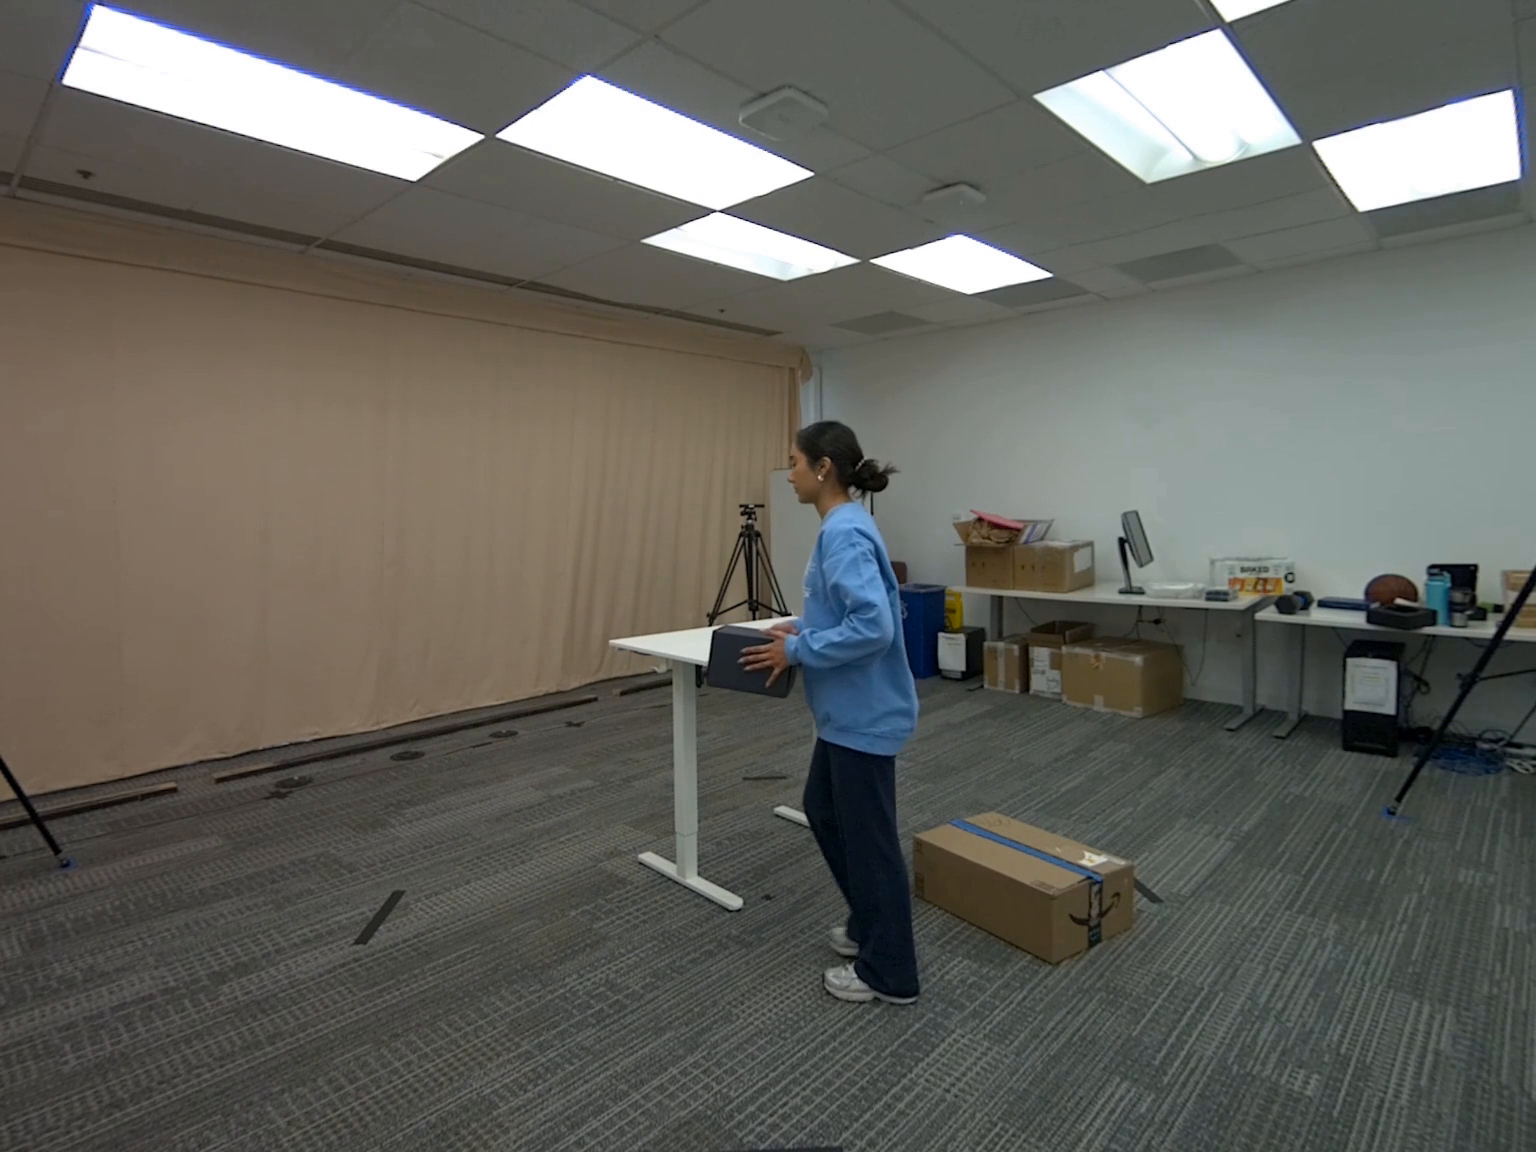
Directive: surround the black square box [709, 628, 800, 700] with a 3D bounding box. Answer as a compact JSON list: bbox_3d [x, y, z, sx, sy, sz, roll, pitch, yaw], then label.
[{"bbox_3d":[-0.029,0.243,2.410,0.230,0.156,0.214,8,-2,8],"label":"black square box"}]
